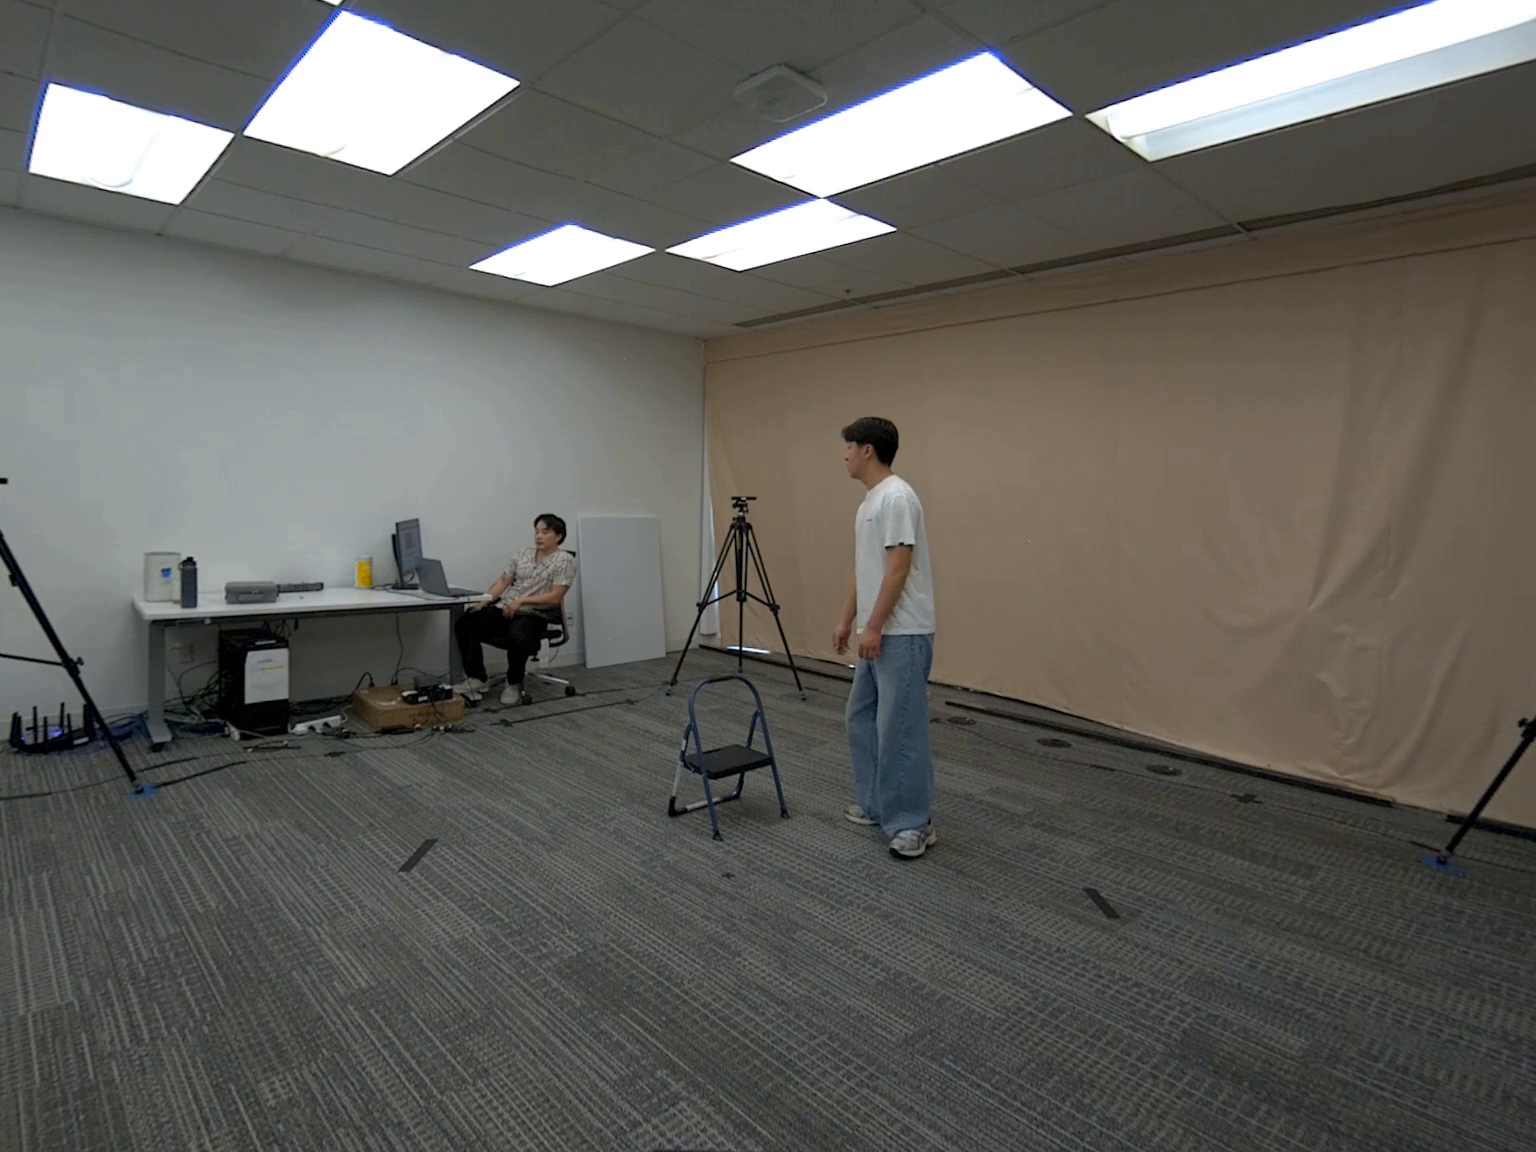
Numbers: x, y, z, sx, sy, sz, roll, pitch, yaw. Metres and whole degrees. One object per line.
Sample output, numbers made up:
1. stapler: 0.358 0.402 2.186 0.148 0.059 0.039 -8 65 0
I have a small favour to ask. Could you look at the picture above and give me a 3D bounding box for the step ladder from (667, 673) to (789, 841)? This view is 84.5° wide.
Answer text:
1. step ladder: -0.171 0.745 3.667 0.421 0.604 0.358 -2 5 -44
